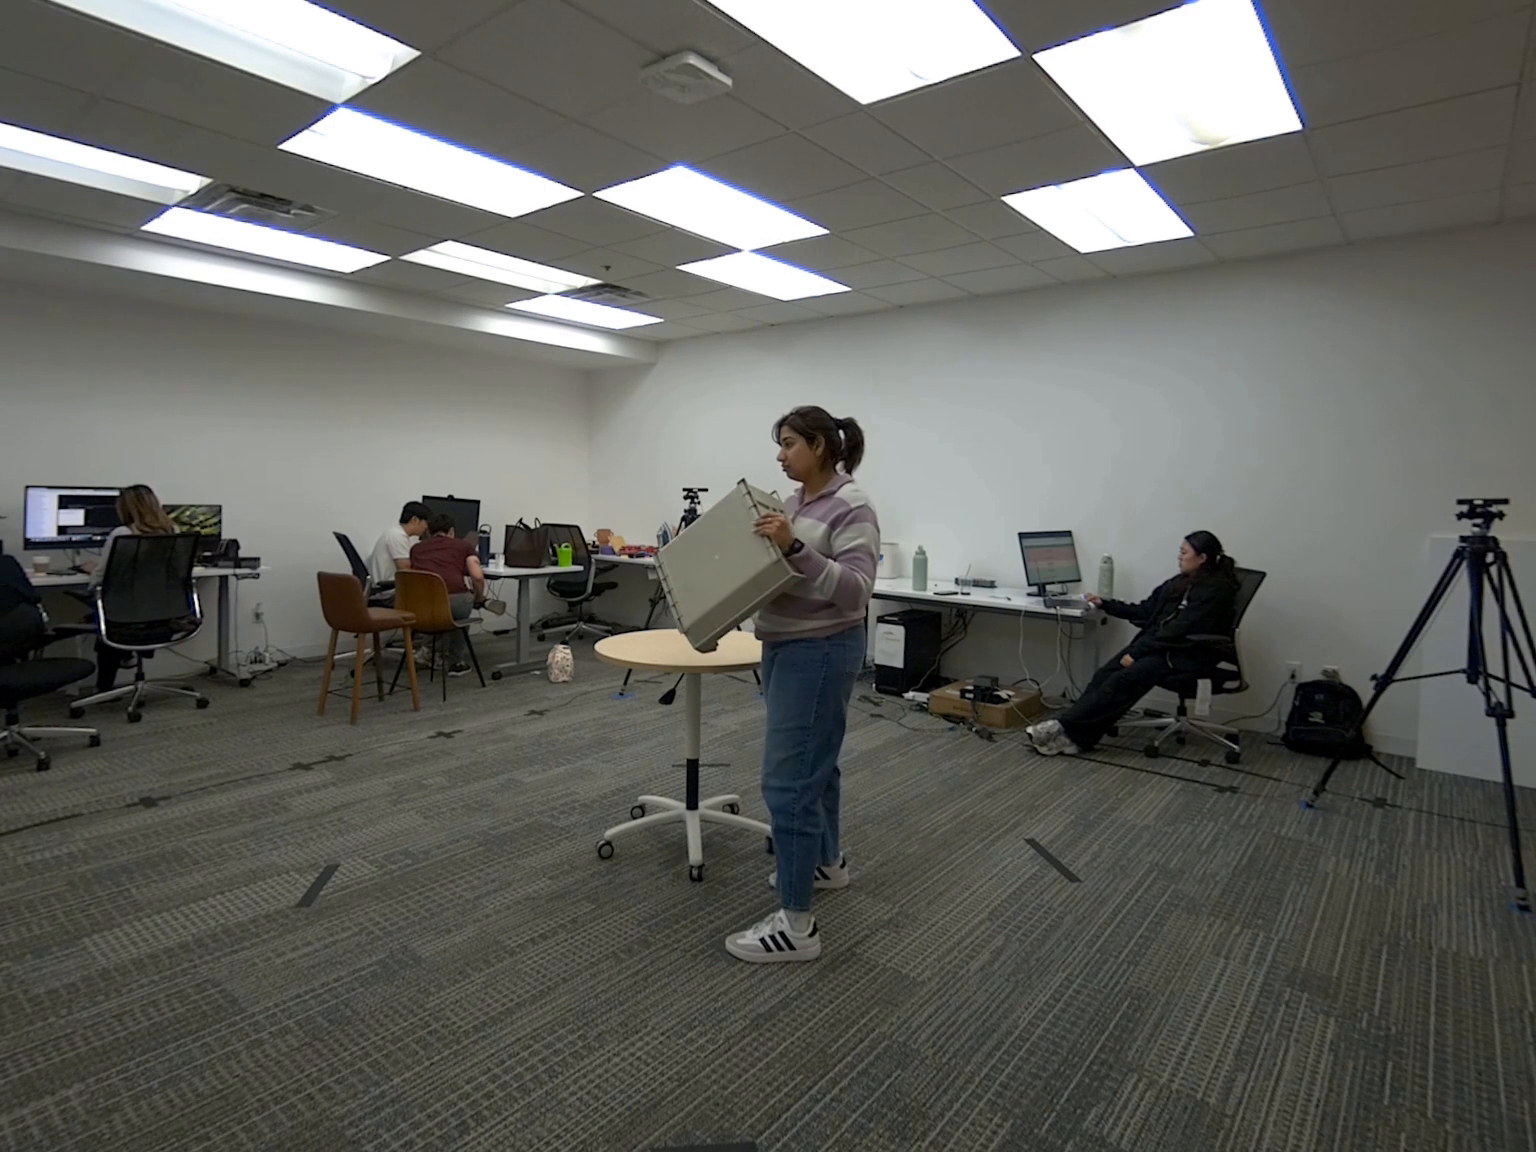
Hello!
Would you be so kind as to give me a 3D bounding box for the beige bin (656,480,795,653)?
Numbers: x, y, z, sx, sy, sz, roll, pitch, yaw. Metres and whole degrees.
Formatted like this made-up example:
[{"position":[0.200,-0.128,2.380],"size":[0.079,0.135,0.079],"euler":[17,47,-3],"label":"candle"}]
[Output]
[{"position":[-0.123,-0.032,2.652],"size":[0.424,0.391,0.181],"euler":[-38,-34,23],"label":"beige bin"}]
